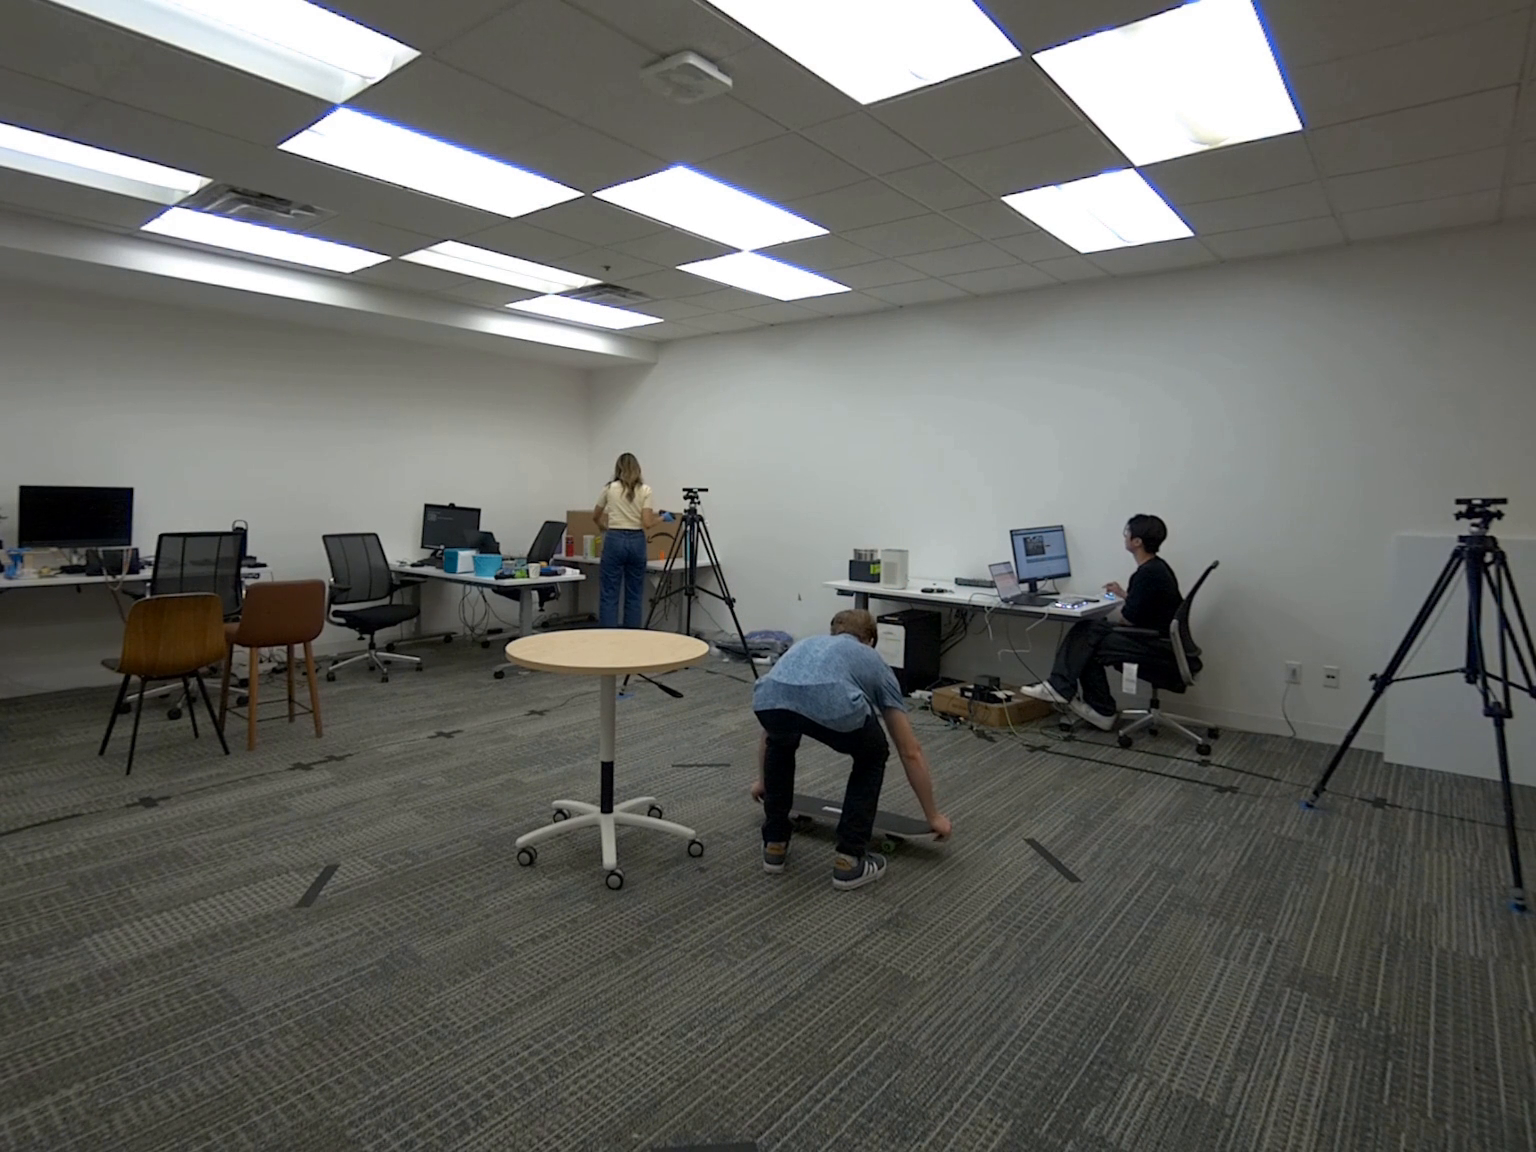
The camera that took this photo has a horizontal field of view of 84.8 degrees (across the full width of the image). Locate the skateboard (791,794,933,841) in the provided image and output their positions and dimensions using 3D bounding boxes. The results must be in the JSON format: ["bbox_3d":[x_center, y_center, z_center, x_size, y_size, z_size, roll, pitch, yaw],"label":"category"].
[{"bbox_3d":[0.306,0.993,3.449,0.807,0.110,0.189,4,5,27],"label":"skateboard"}]
